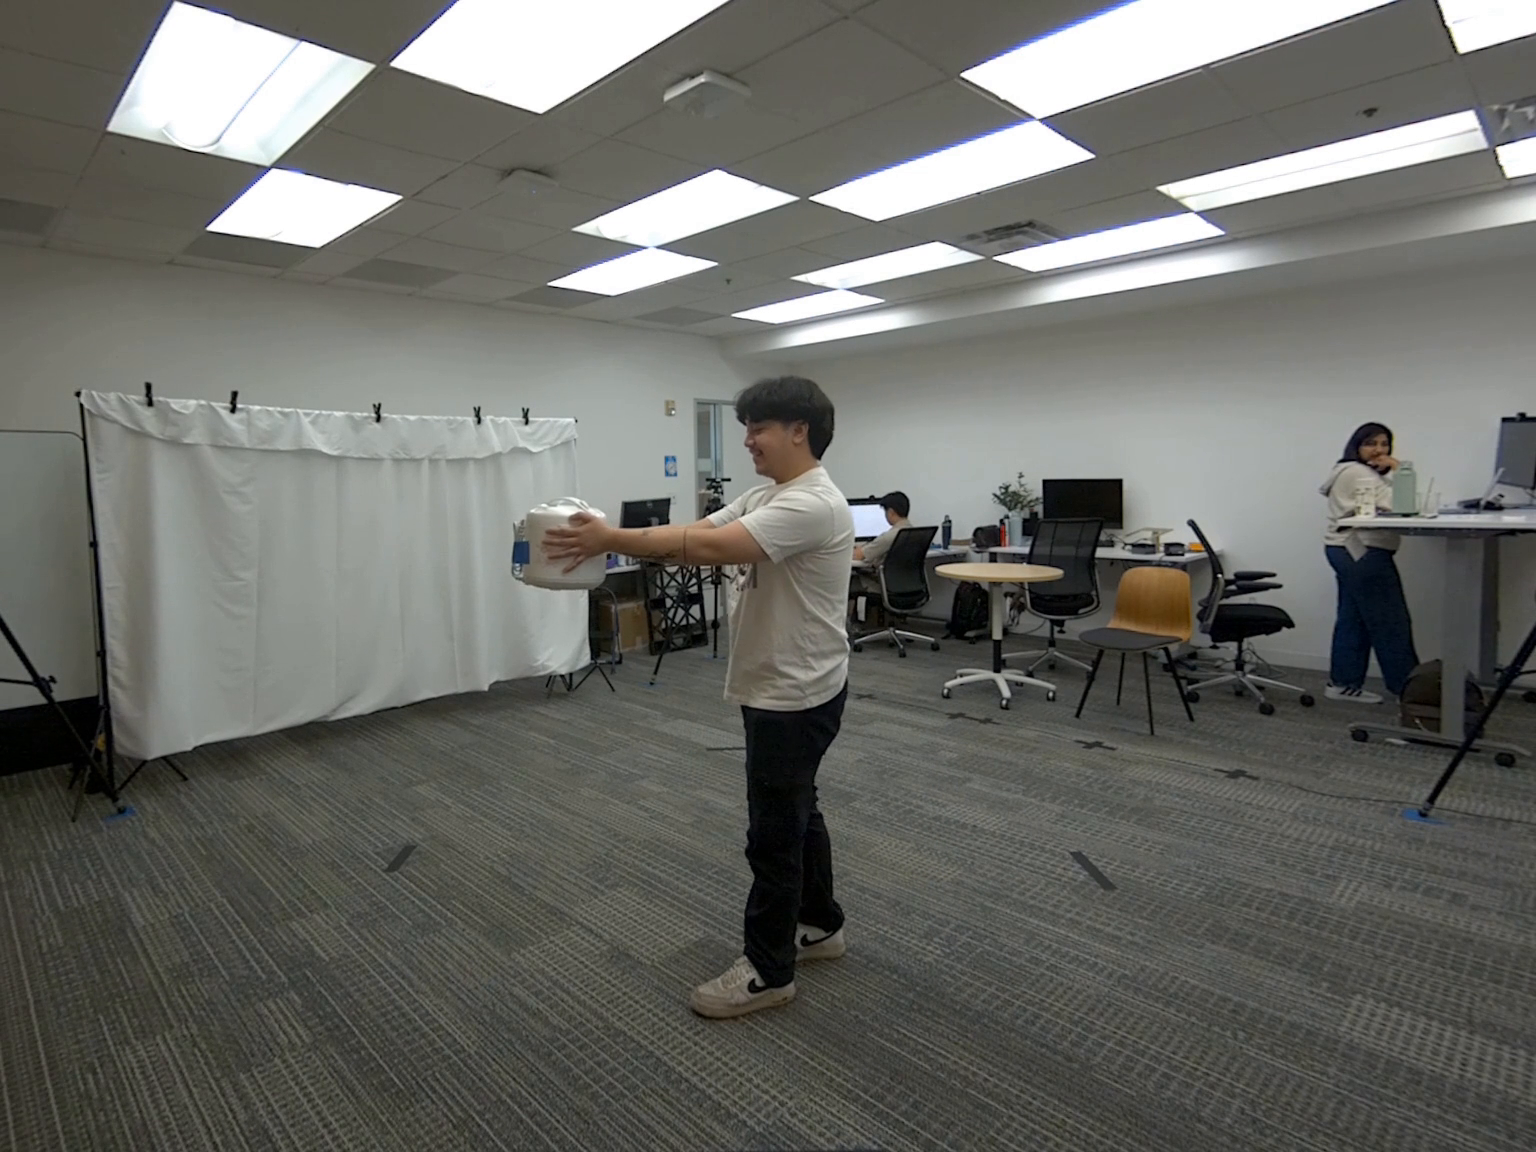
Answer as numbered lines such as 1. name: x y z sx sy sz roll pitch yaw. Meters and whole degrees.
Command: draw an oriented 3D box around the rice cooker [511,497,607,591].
1. rice cooker: -0.514 -0.089 2.191 0.228 0.232 0.211 8 6 40
